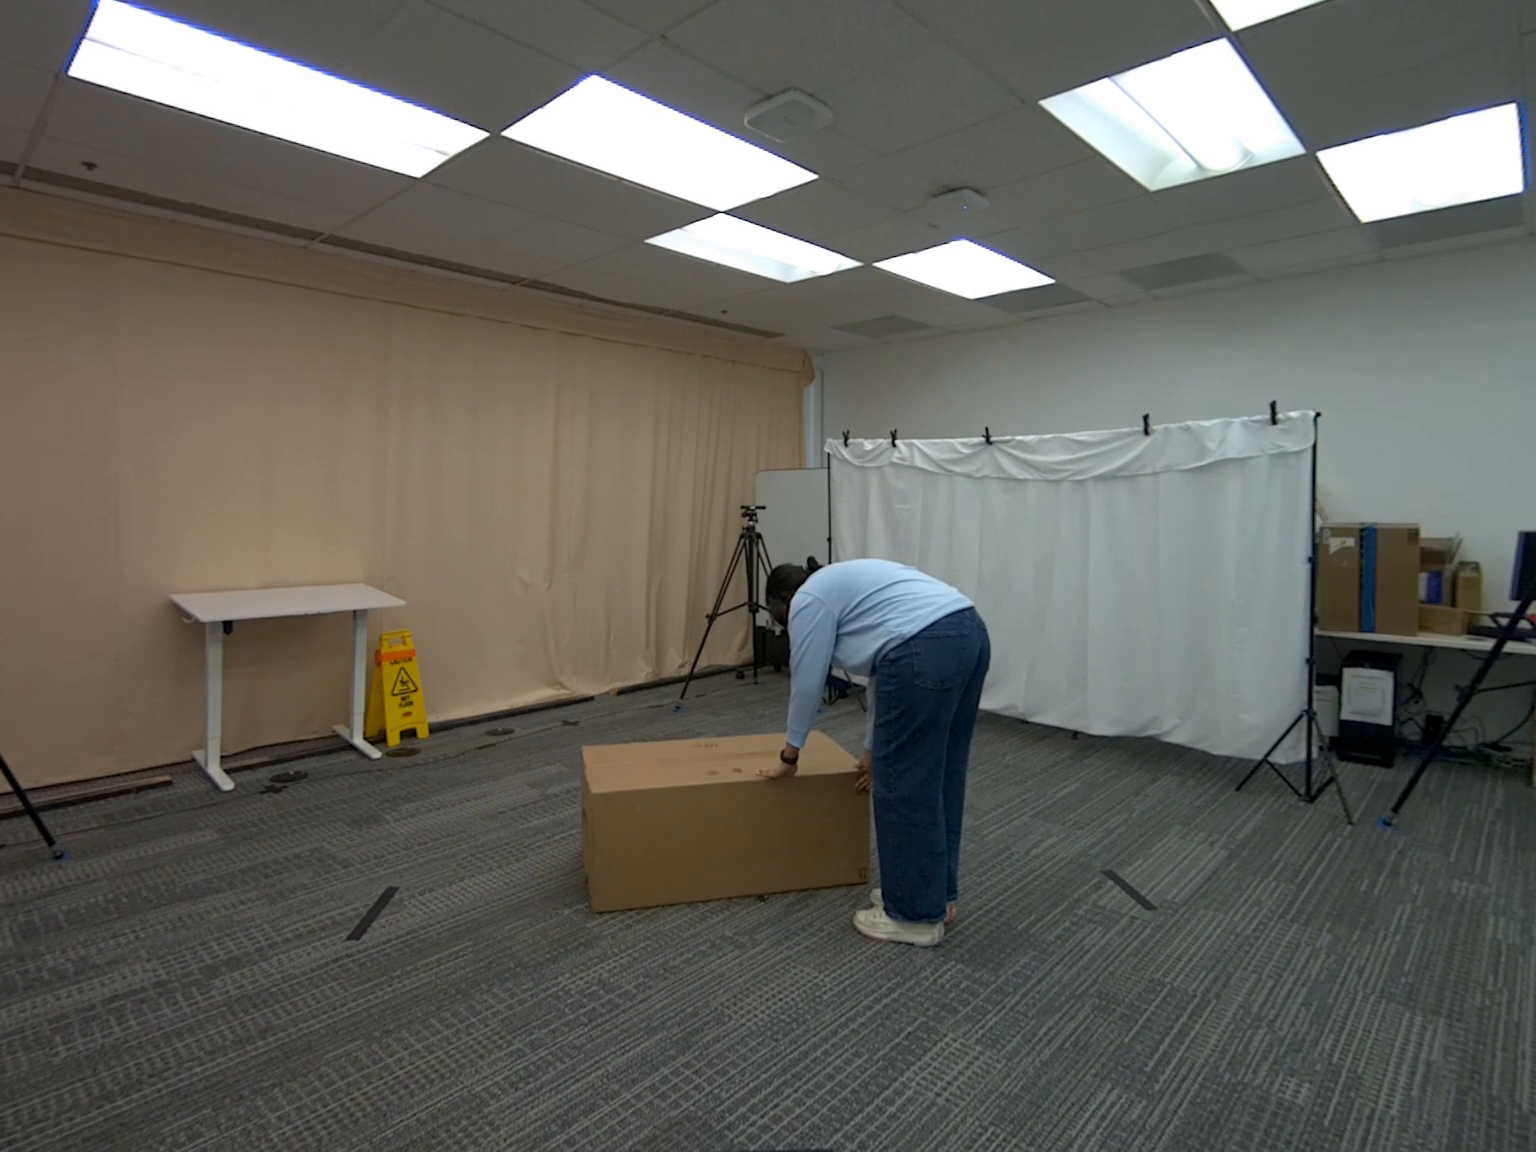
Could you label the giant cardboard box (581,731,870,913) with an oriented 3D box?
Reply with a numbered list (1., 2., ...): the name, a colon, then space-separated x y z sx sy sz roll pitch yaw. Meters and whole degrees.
1. giant cardboard box: -0.191 0.908 3.254 1.011 0.425 0.587 -1 4 -14
